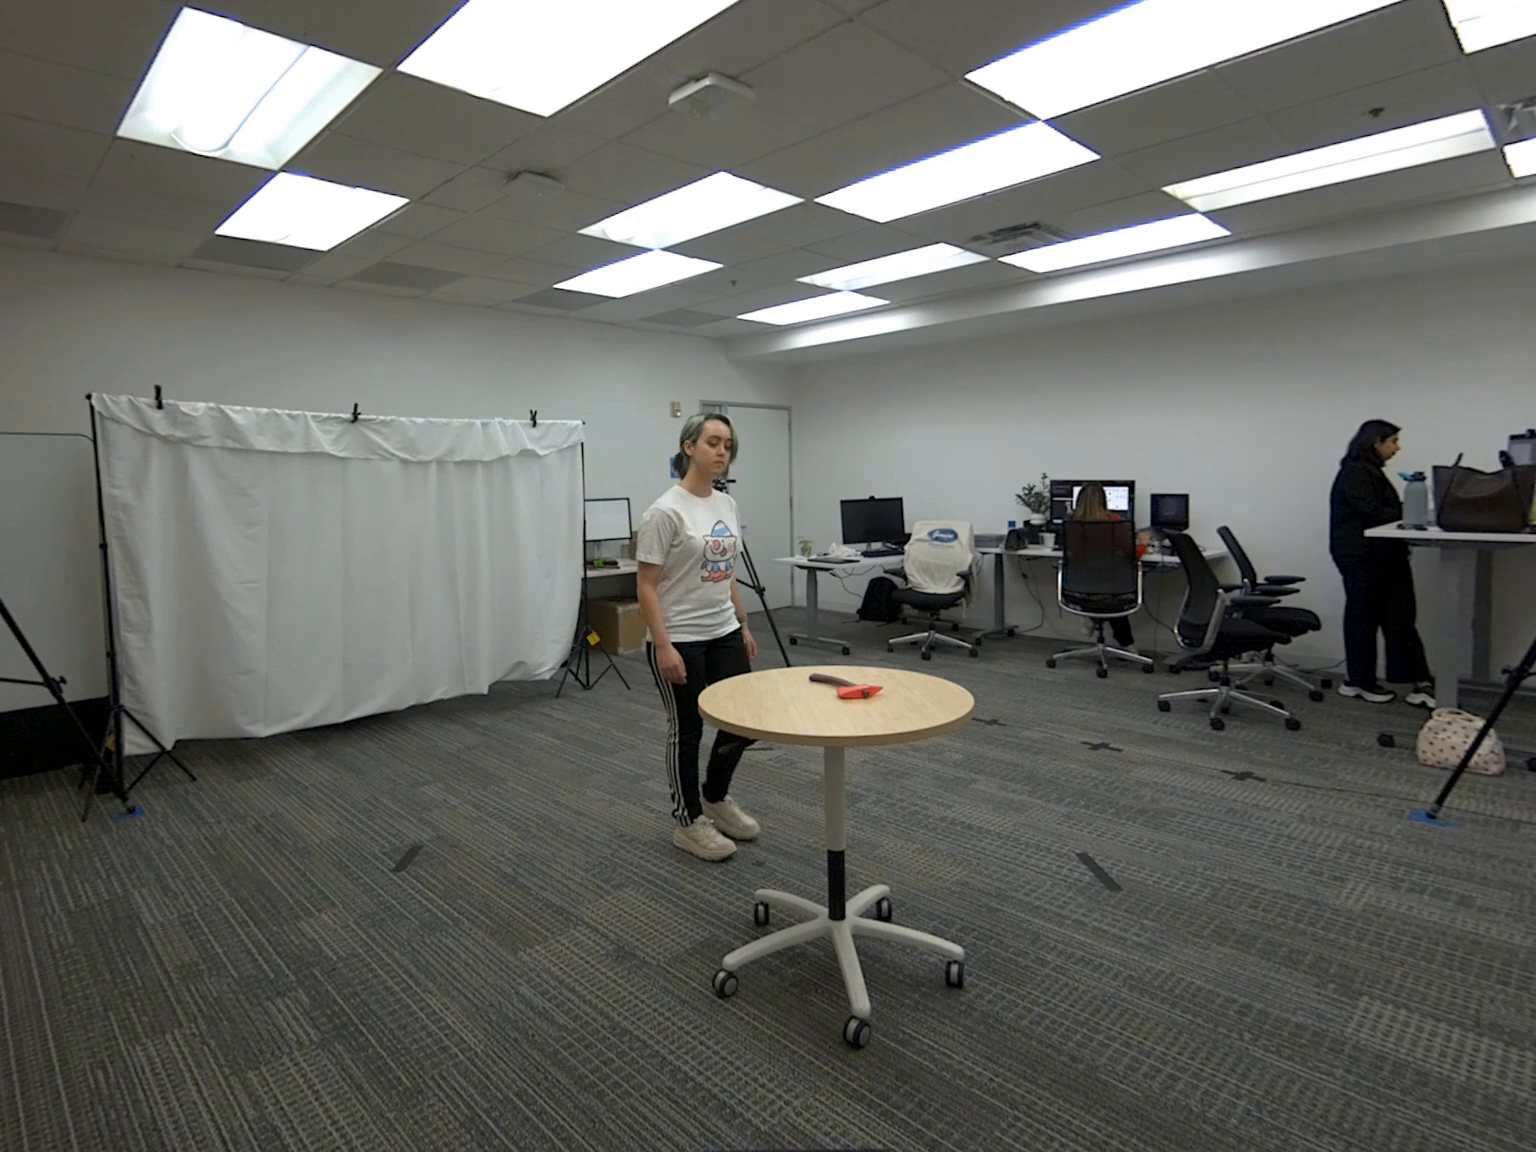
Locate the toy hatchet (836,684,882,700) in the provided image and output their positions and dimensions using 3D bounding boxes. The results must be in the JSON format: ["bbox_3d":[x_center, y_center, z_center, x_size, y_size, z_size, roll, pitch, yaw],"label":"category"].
[{"bbox_3d":[0.193,0.316,2.480,0.128,0.029,0.278,-13,10,-38],"label":"toy hatchet"}]
